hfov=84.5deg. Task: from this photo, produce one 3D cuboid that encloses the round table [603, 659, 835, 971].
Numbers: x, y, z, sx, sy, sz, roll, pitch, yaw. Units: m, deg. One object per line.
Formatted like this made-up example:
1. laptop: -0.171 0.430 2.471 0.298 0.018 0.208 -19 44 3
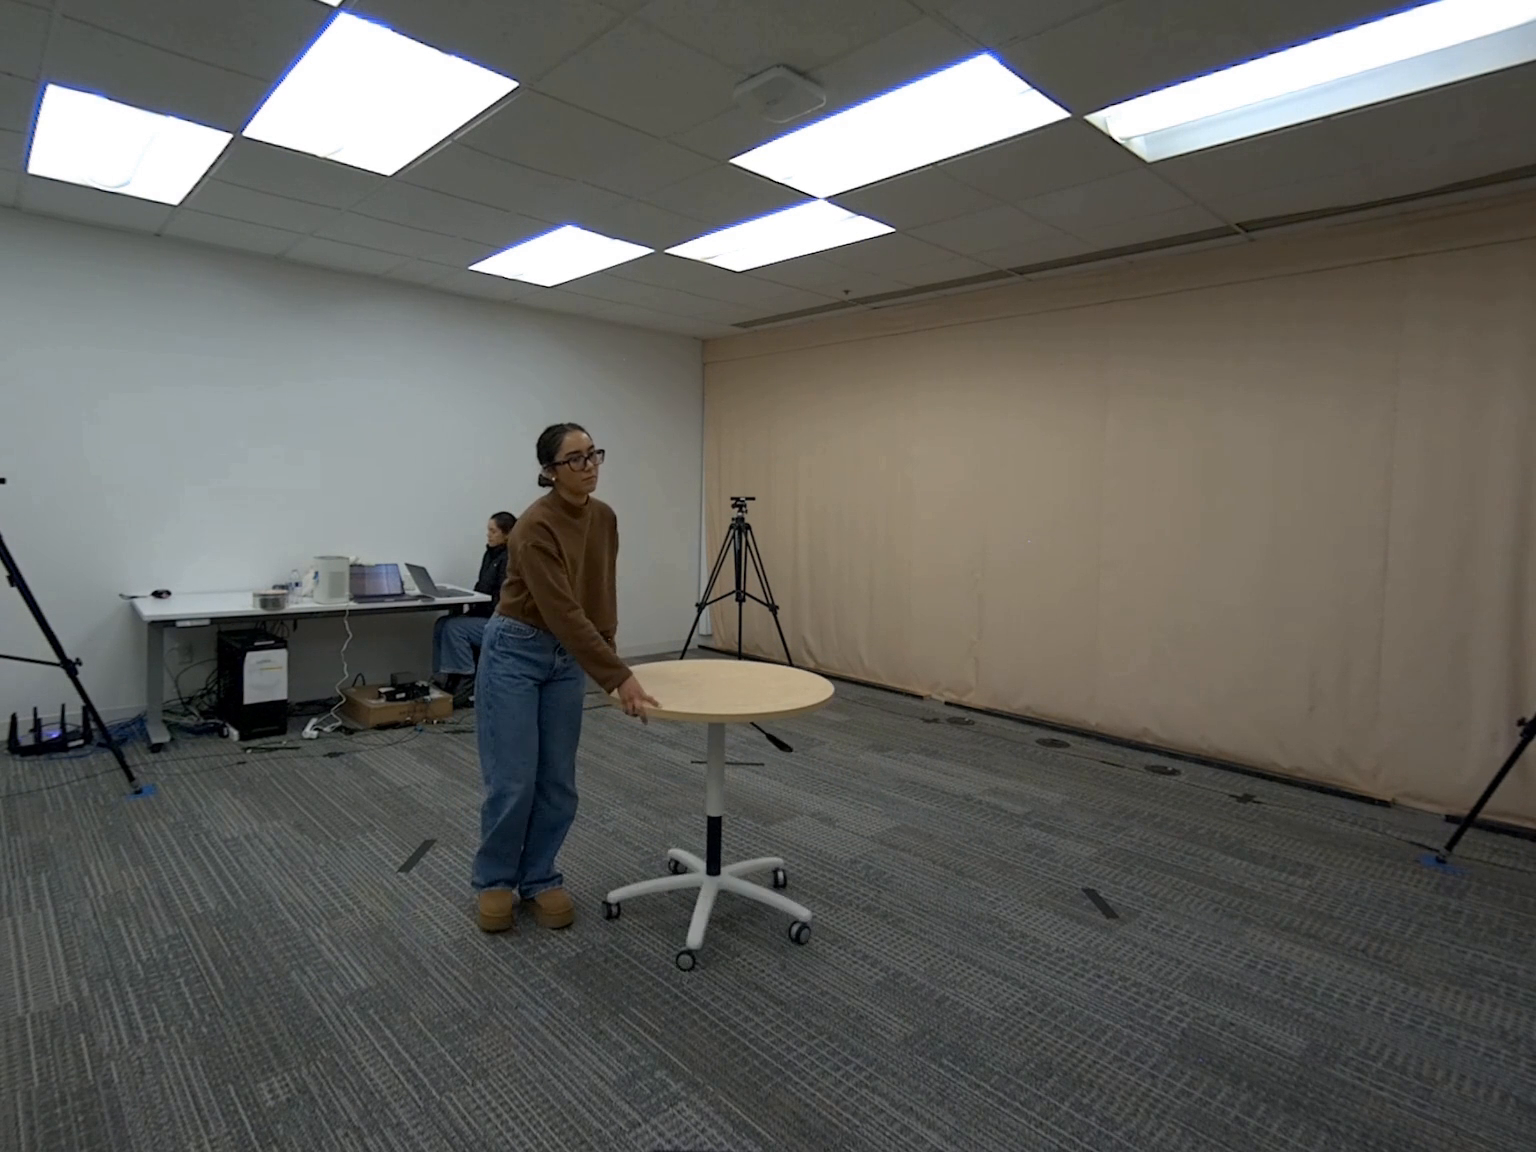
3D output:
1. round table: -0.173 0.742 2.779 0.784 0.784 0.788 1 5 -1
